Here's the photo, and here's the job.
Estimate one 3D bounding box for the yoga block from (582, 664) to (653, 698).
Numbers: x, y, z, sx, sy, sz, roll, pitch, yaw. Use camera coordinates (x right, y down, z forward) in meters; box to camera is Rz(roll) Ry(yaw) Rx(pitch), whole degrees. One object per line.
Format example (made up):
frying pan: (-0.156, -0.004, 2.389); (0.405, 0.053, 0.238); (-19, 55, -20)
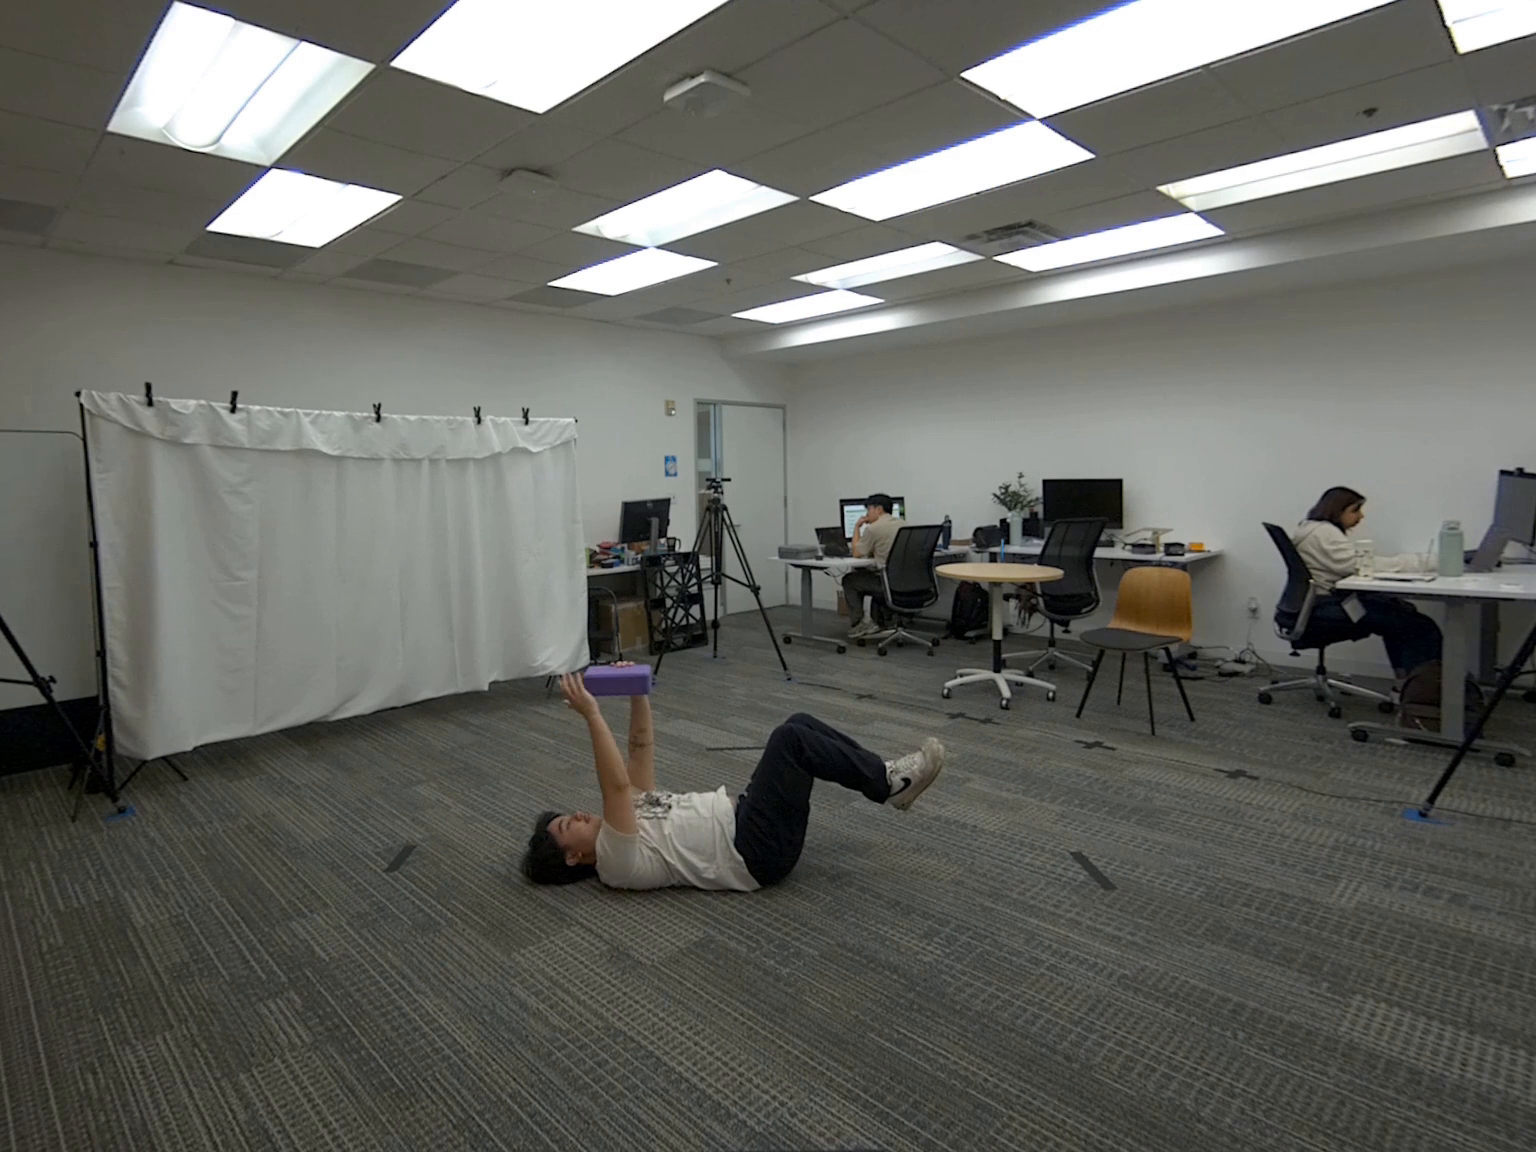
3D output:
yoga block: (-0.534, 0.371, 3.014); (0.229, 0.076, 0.150); (0, 6, -3)
